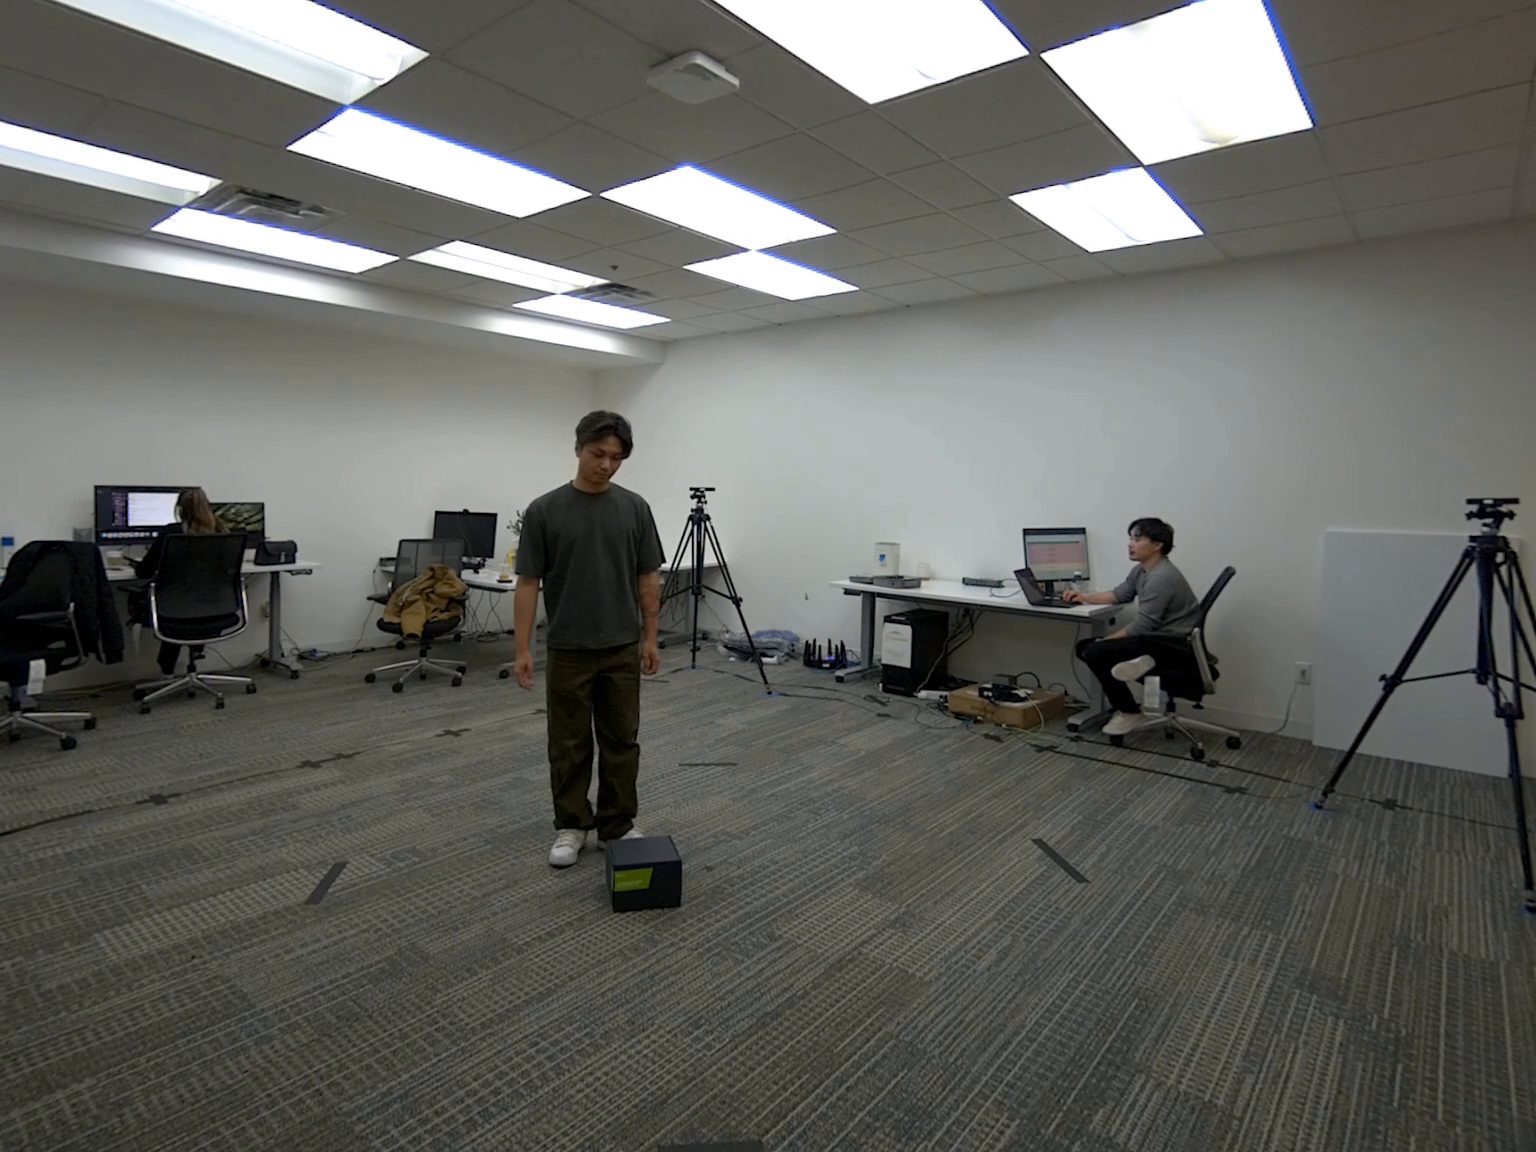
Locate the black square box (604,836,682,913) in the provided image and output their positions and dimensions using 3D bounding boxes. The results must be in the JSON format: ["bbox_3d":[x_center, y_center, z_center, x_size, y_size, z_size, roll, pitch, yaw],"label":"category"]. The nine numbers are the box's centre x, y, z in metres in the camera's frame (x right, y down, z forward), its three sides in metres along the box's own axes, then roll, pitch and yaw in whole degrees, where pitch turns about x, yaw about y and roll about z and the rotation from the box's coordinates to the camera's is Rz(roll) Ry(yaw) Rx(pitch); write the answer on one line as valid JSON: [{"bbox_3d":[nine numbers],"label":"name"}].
[{"bbox_3d":[-0.433,0.994,2.887,0.224,0.155,0.221,0,5,-16],"label":"black square box"}]
